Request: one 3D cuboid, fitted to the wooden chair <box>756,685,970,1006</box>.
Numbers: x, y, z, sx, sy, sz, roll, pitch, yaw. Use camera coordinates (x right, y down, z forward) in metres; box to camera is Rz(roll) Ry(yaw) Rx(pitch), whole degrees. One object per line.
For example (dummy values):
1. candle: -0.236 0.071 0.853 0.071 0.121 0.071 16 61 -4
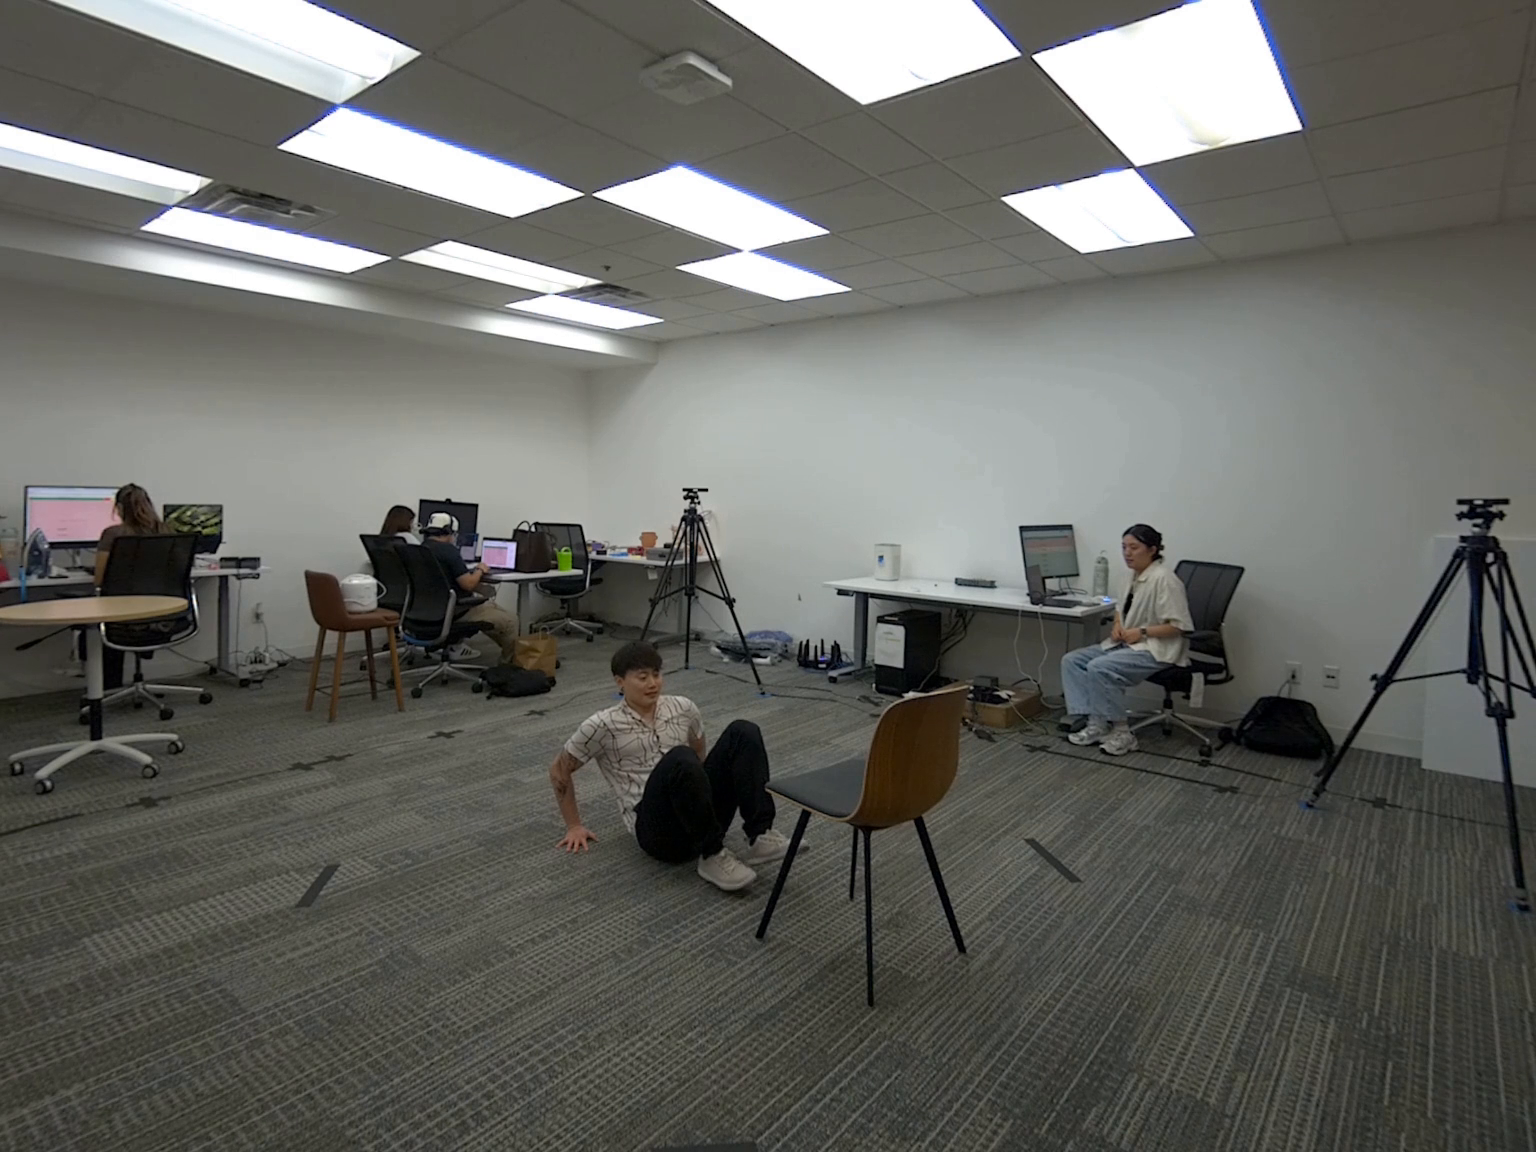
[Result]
1. wooden chair: 0.282 0.704 2.586 0.463 0.872 0.542 -2 9 -42
